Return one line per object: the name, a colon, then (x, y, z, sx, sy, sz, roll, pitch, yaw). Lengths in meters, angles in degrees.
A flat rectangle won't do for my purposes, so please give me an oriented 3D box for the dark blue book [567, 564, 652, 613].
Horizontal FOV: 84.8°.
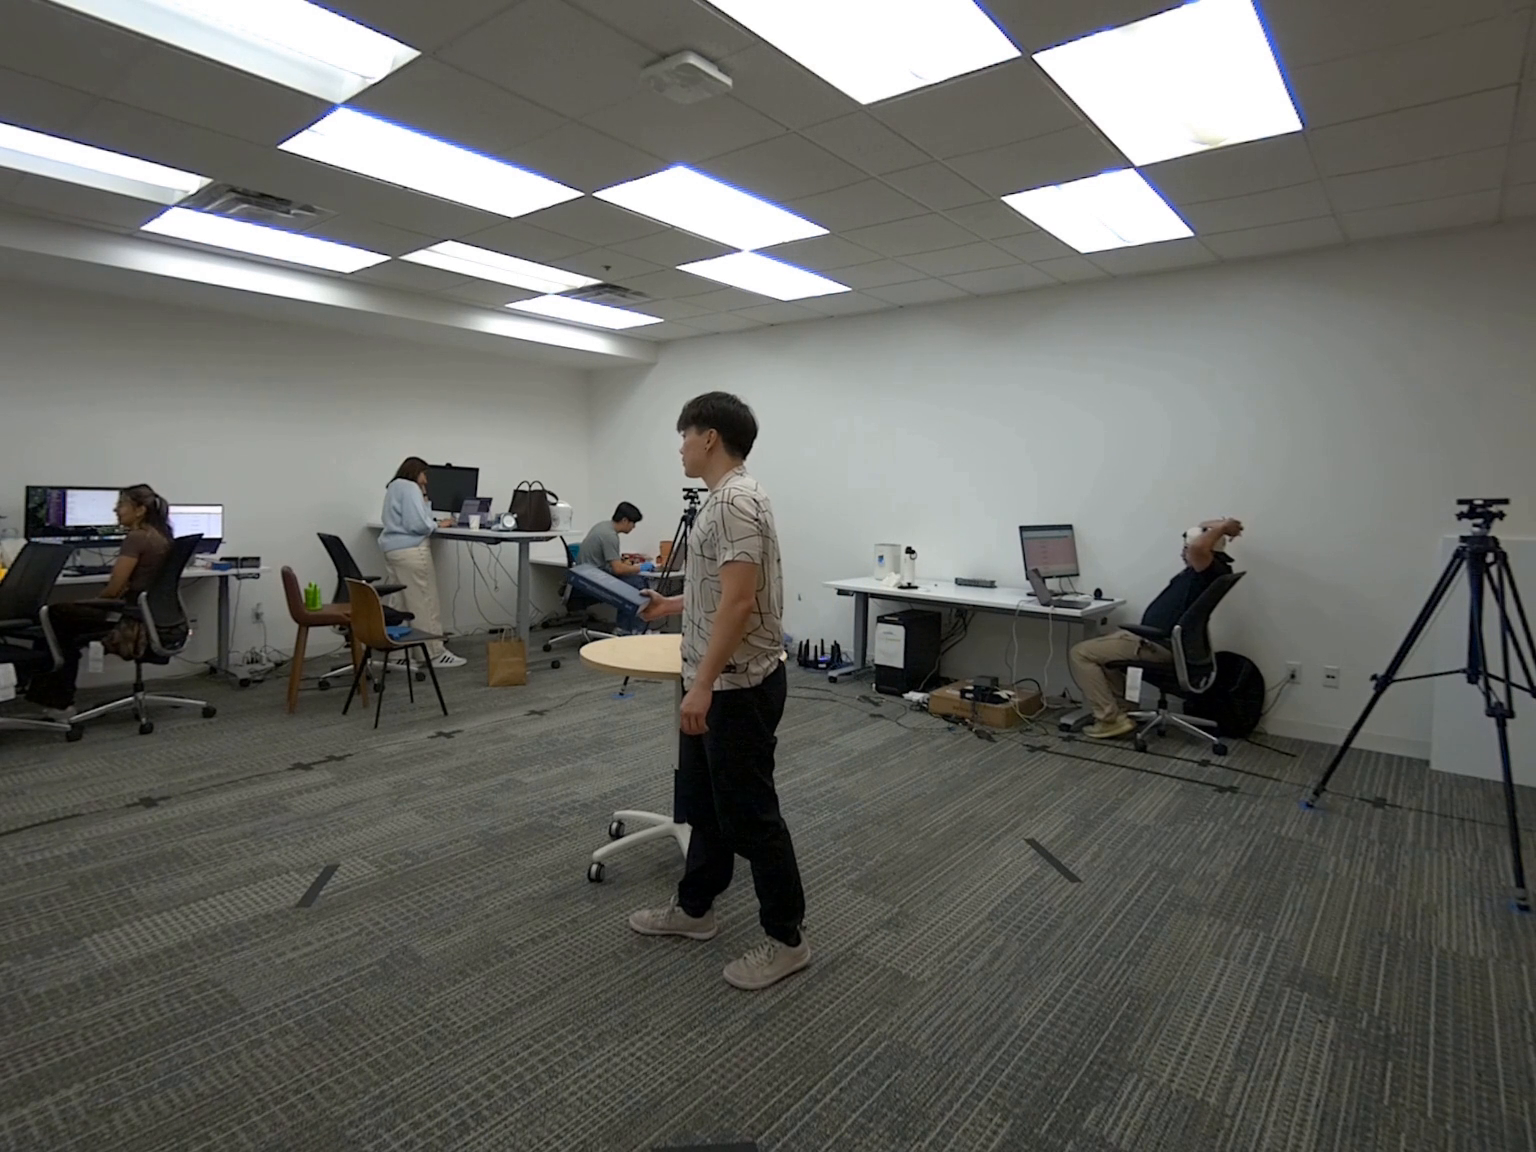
dark blue book: (-0.498, 0.036, 2.621, 0.246, 0.045, 0.163, 24, 8, 2)
